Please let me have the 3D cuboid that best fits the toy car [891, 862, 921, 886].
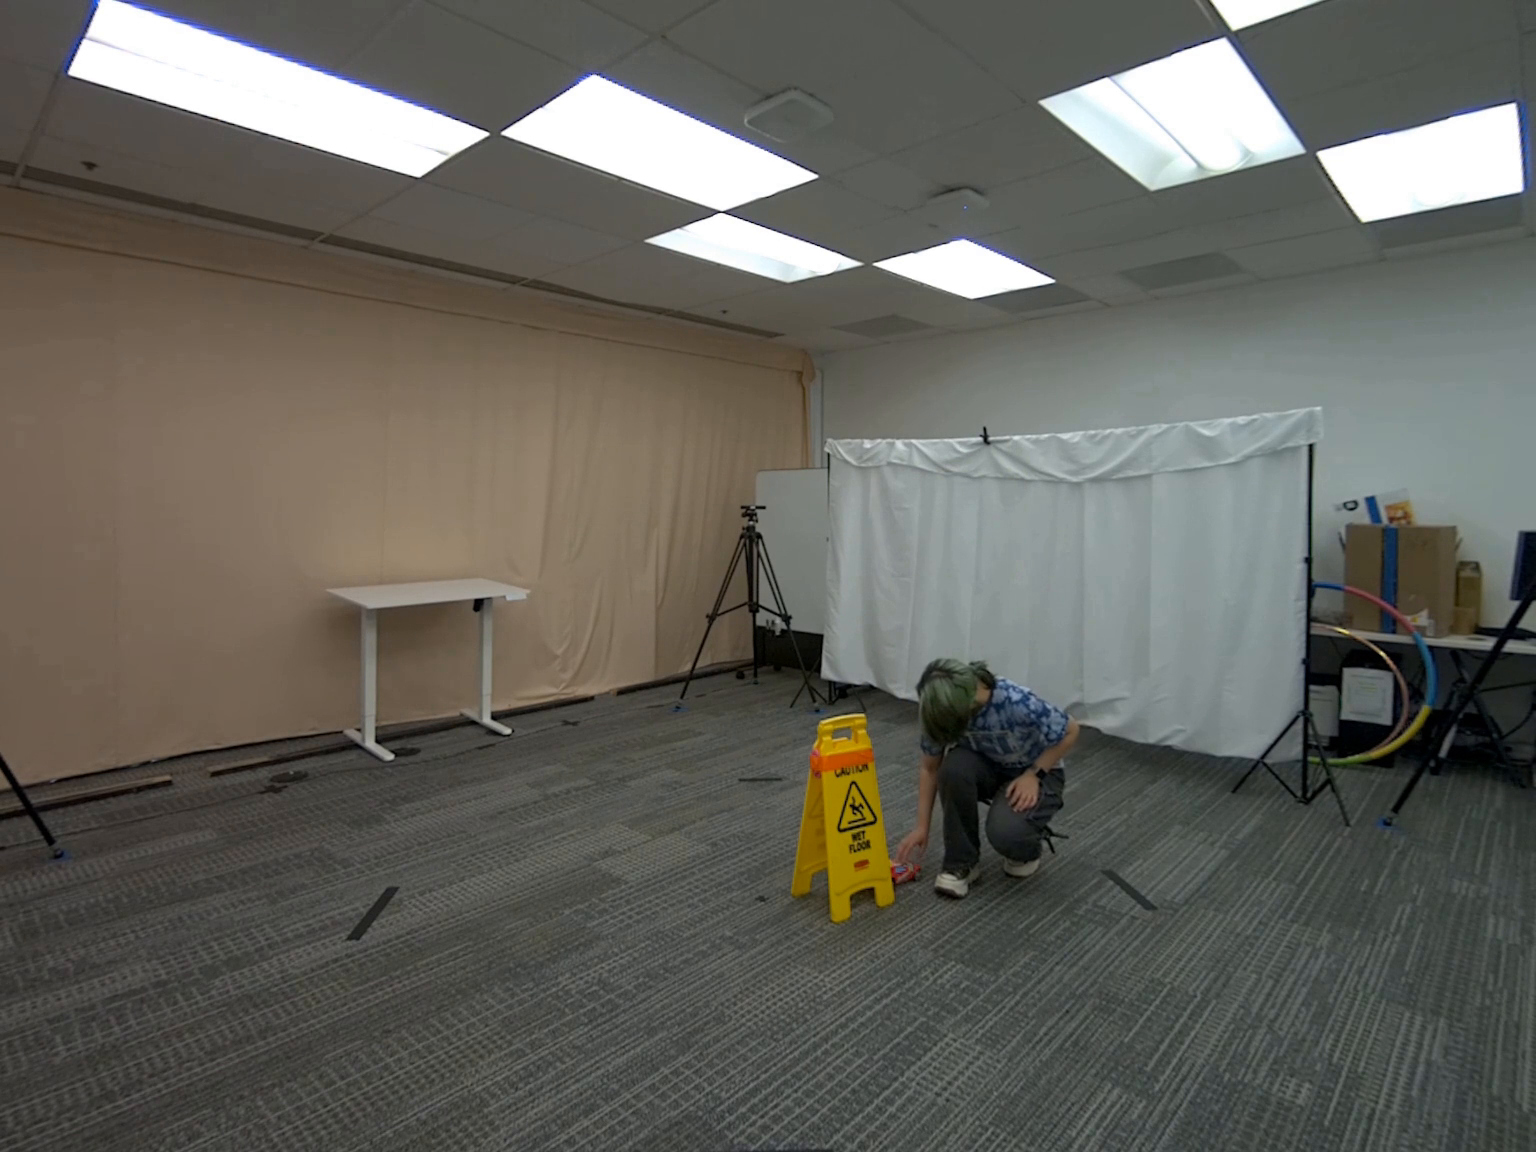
[{"bbox_3d":[0.459,1.111,3.109,0.246,0.083,0.134,11,-3,-34],"label":"toy car"}]
